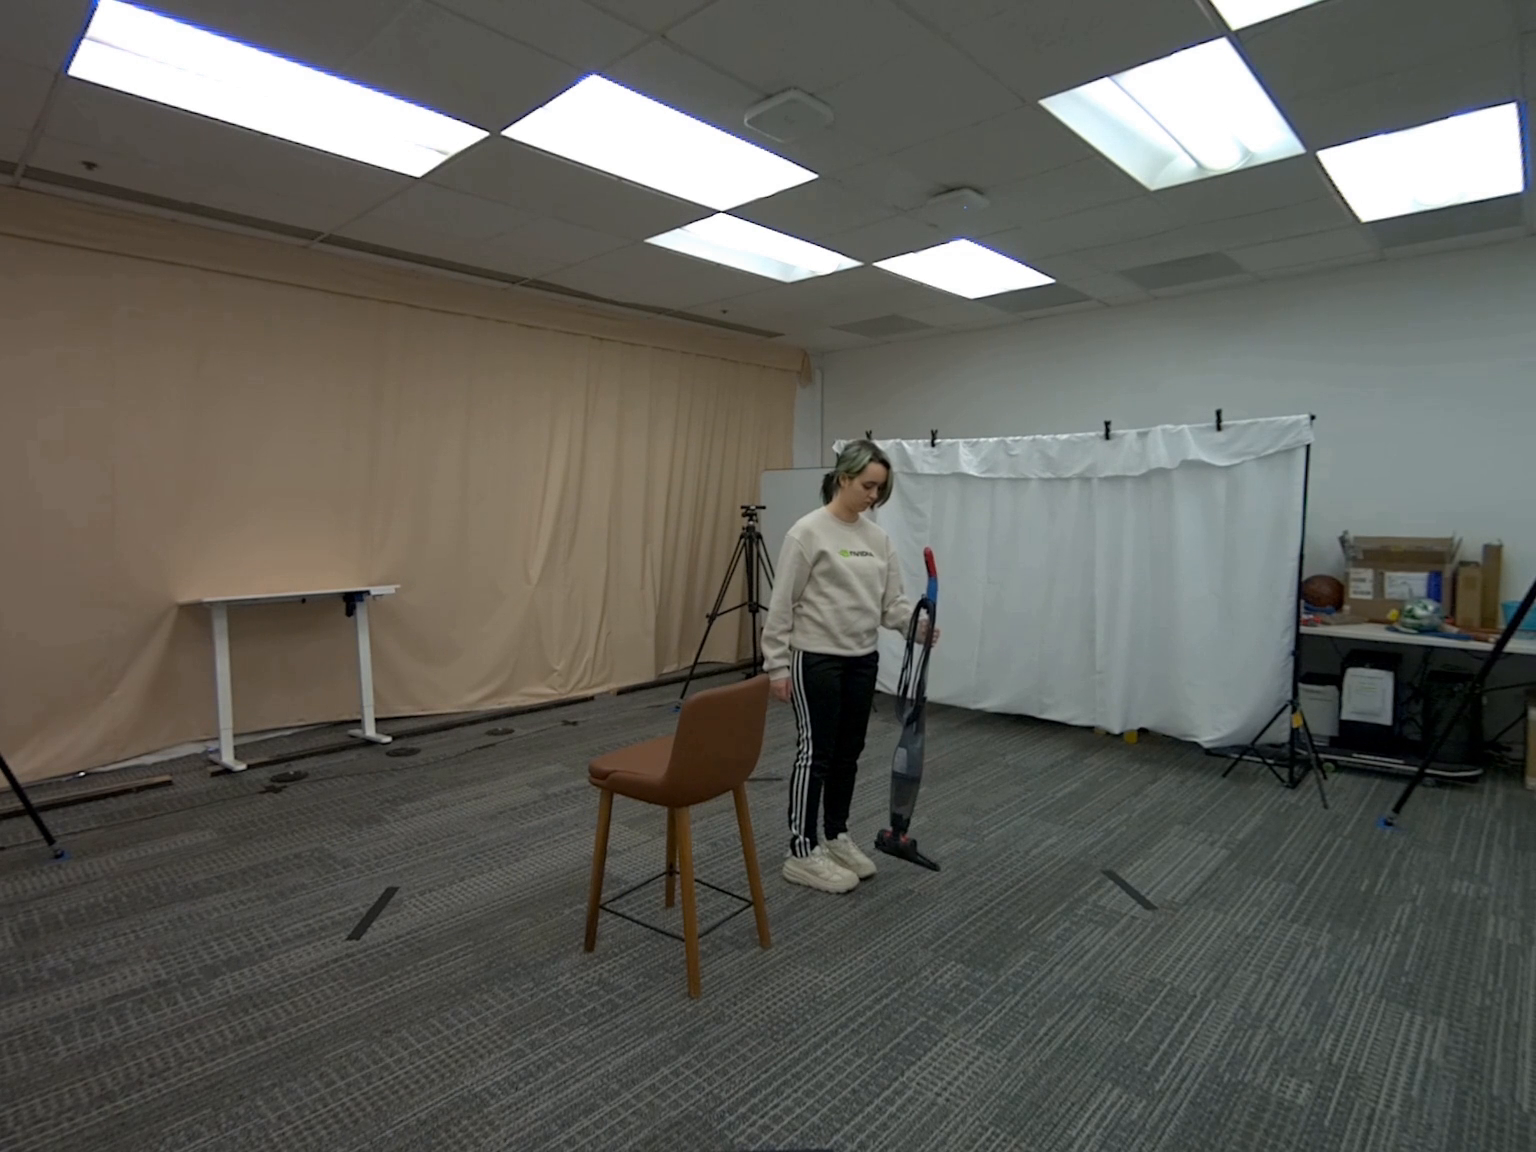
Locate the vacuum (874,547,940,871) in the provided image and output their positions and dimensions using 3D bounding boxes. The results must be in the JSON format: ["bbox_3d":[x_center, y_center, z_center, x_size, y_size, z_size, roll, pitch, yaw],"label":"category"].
[{"bbox_3d":[0.522,0.451,2.946,0.261,1.050,0.139,3,-2,43],"label":"vacuum"}]
